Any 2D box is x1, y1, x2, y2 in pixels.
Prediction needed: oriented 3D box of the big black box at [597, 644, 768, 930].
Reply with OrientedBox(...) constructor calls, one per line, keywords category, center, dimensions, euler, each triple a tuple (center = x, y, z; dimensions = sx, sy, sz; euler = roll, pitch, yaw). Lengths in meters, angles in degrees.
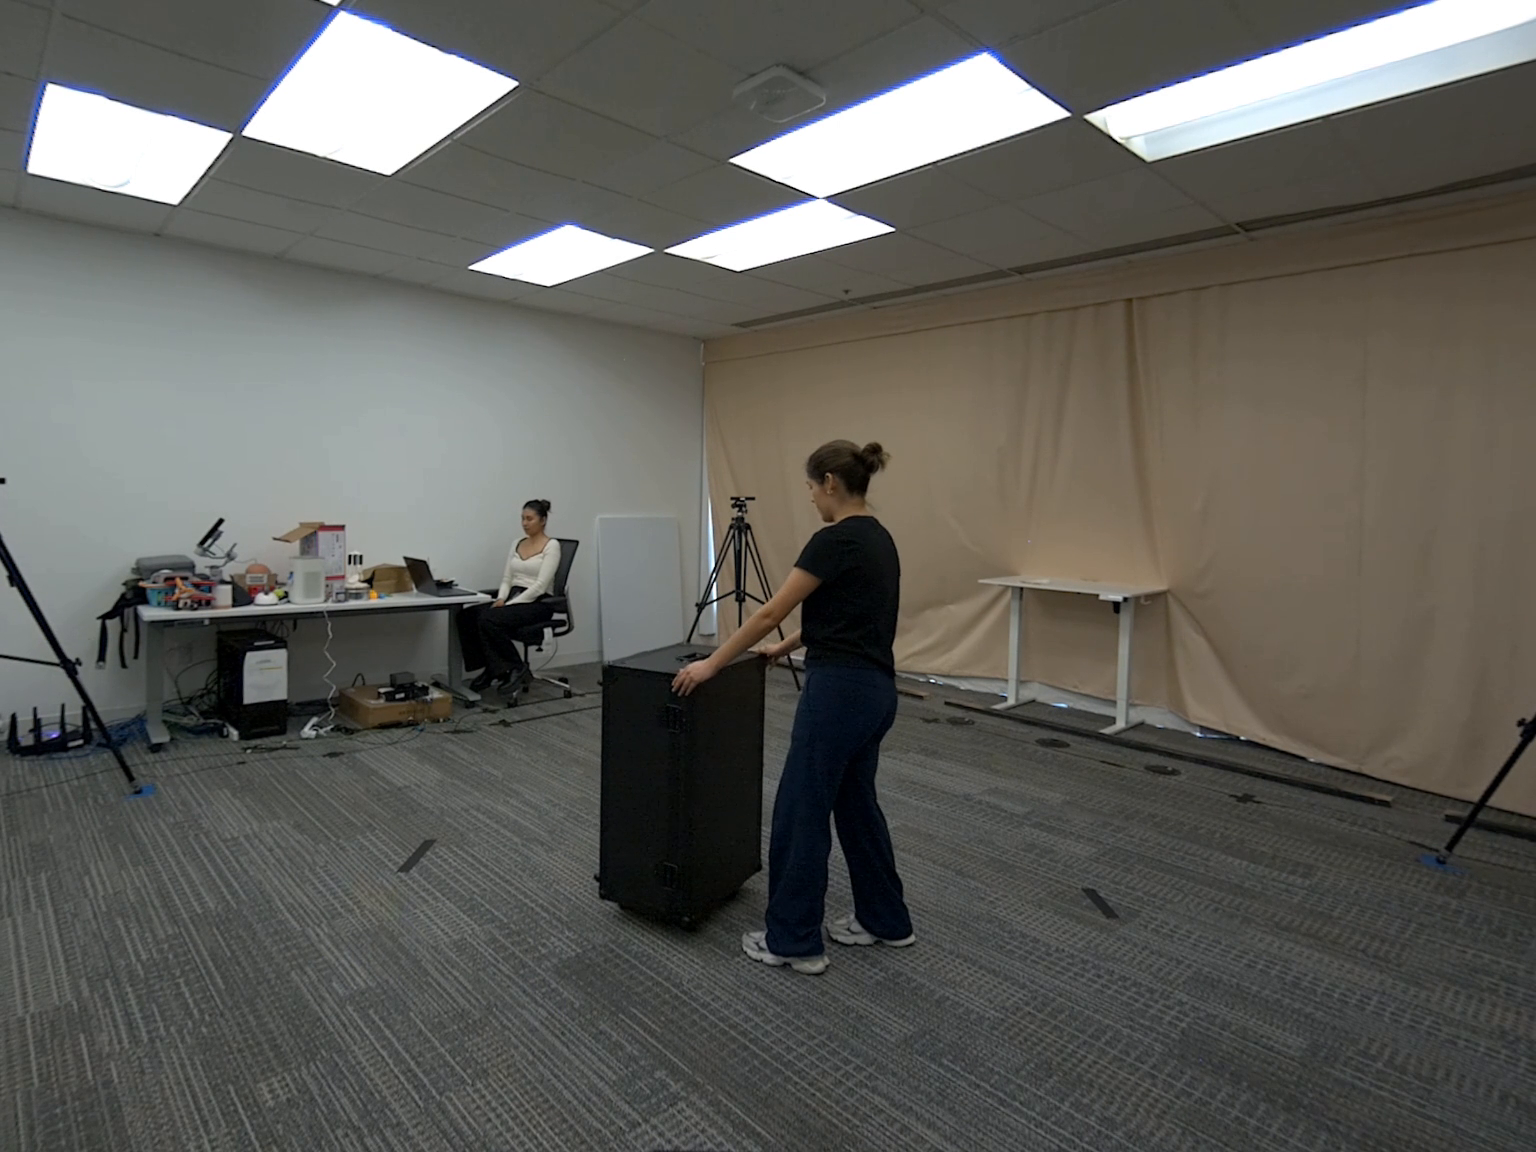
OrientedBox(category="big black box", center=(-0.290, 0.702, 2.851), dimensions=(0.404, 0.859, 0.511), euler=(3, 4, 28))
